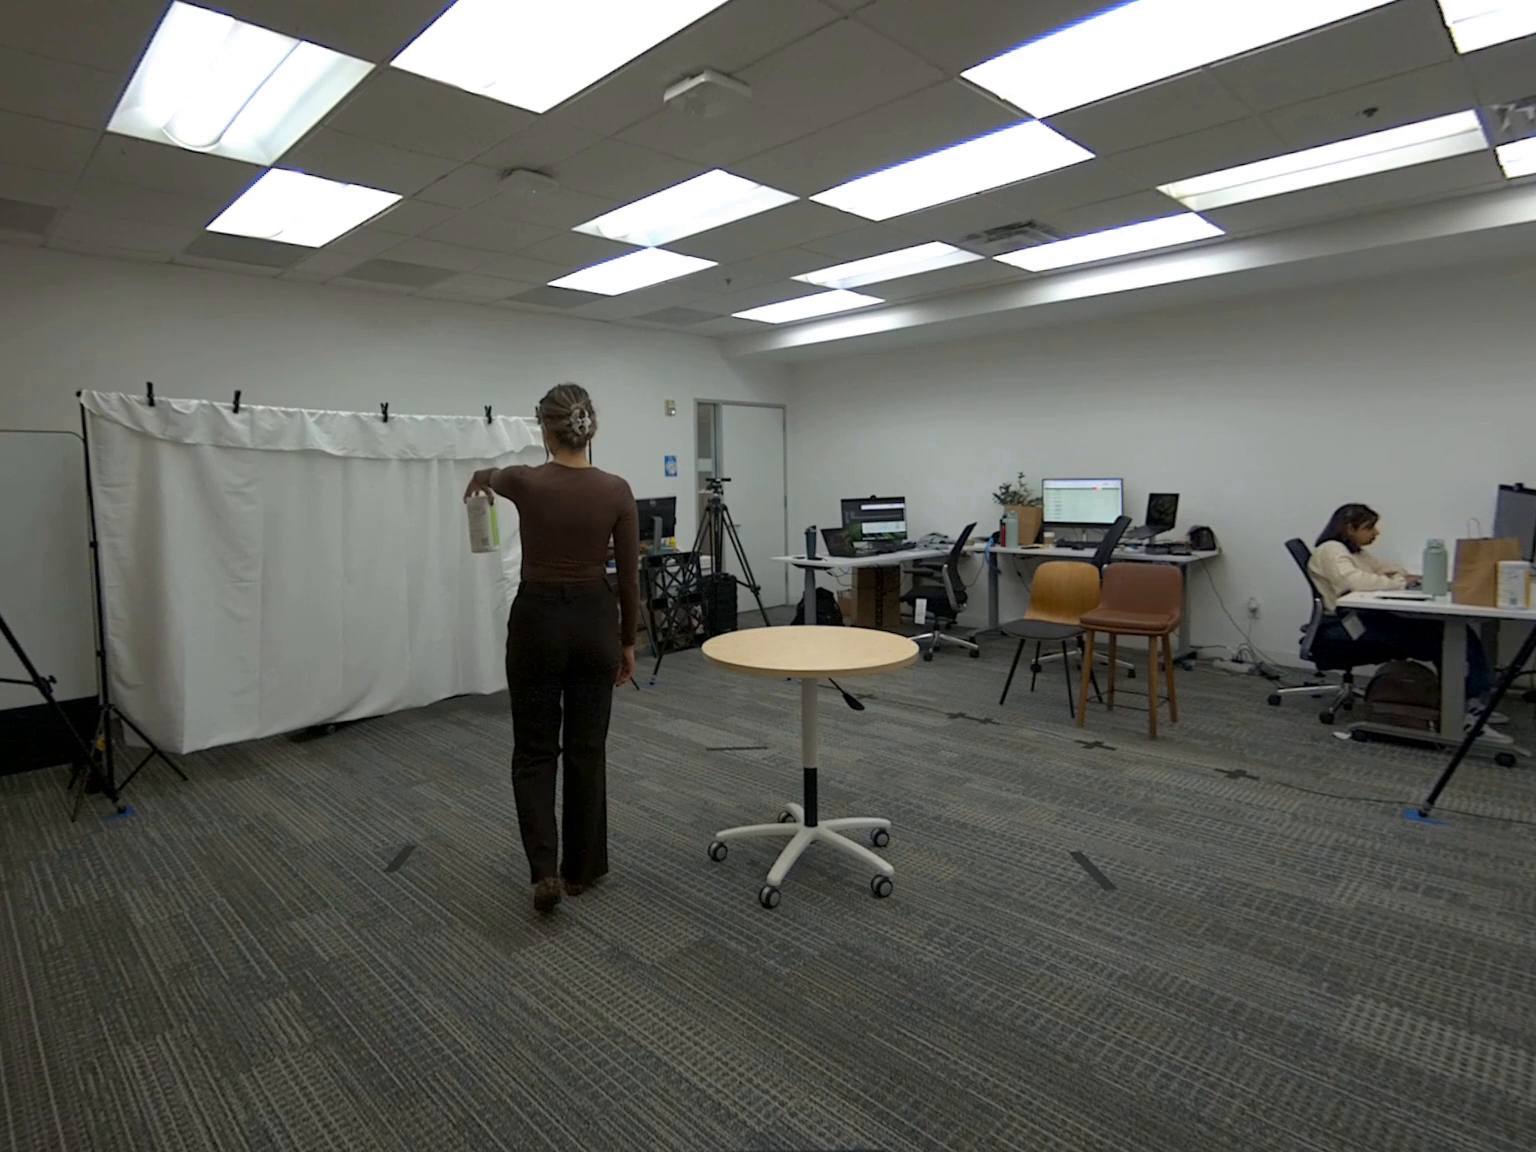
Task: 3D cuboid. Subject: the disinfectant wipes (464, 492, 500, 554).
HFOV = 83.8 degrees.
[{"bbox_3d":[-1.099,-0.201,3.302,0.118,0.216,0.118,-2,6,-1],"label":"disinfectant wipes"}]
